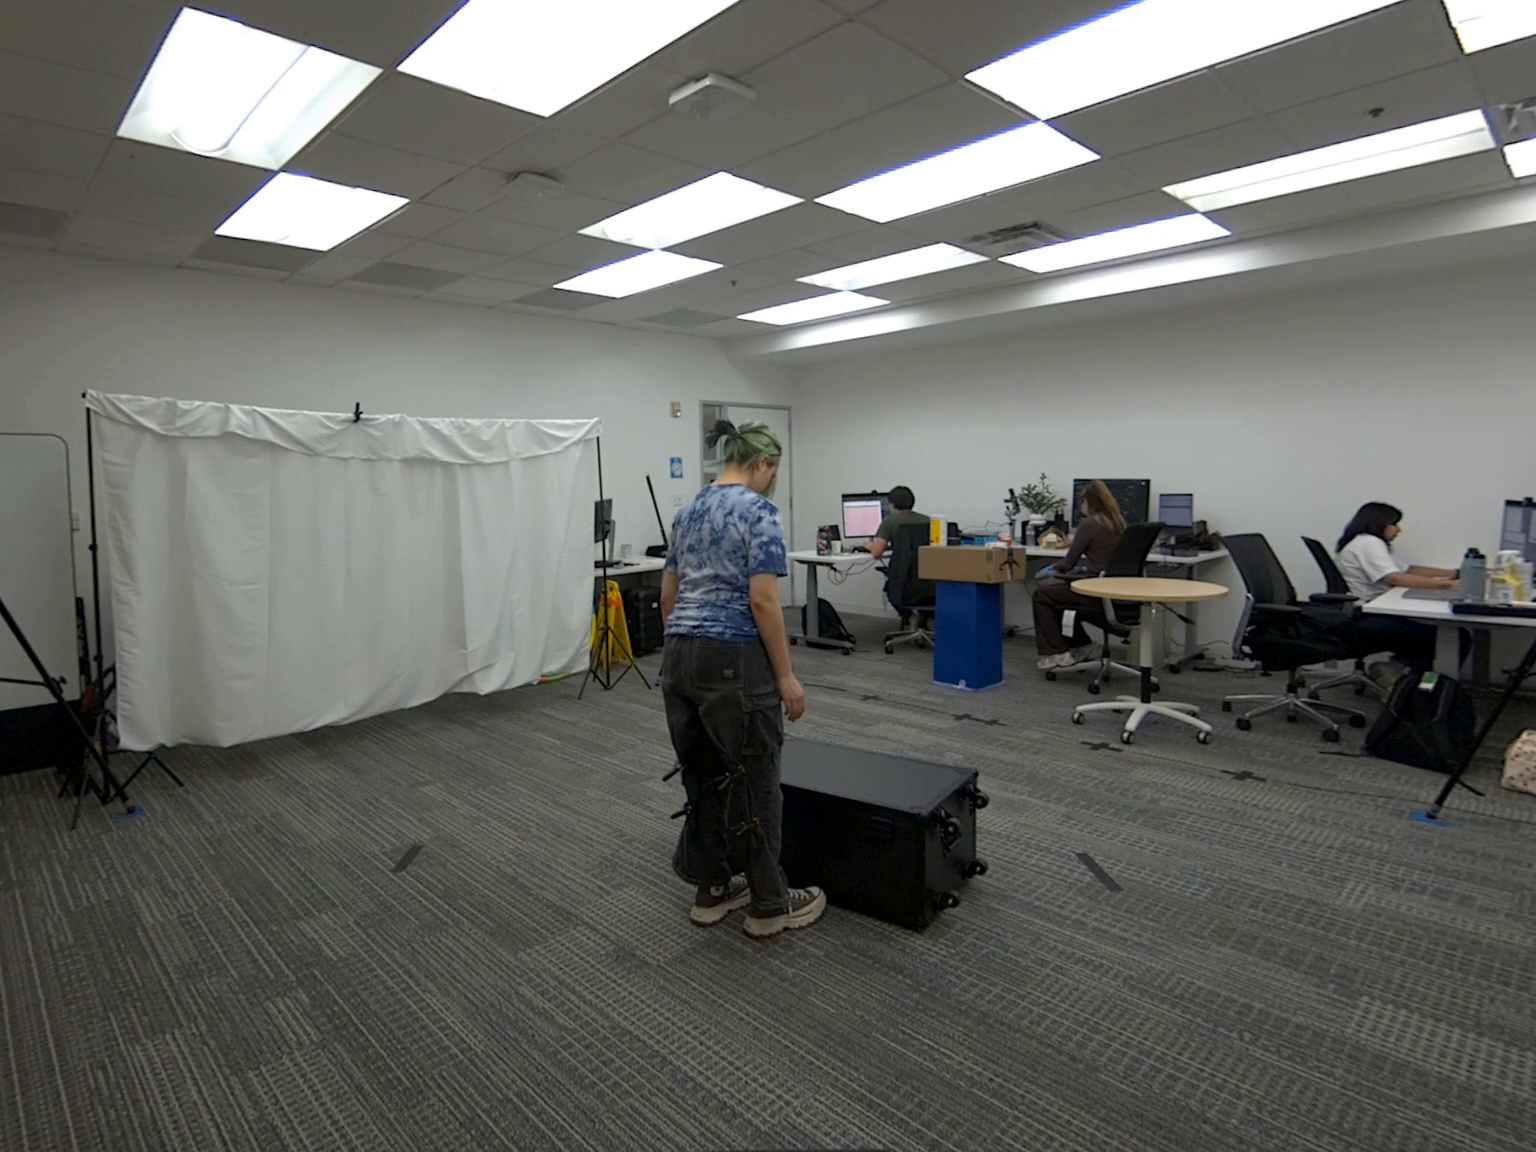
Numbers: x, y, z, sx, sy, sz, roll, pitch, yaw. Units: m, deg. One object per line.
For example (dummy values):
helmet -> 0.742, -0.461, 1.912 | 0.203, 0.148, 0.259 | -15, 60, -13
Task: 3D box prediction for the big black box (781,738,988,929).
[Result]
big black box -> 0.302, 0.862, 2.985 | 0.885, 0.395, 0.509 | 2, 6, 34
